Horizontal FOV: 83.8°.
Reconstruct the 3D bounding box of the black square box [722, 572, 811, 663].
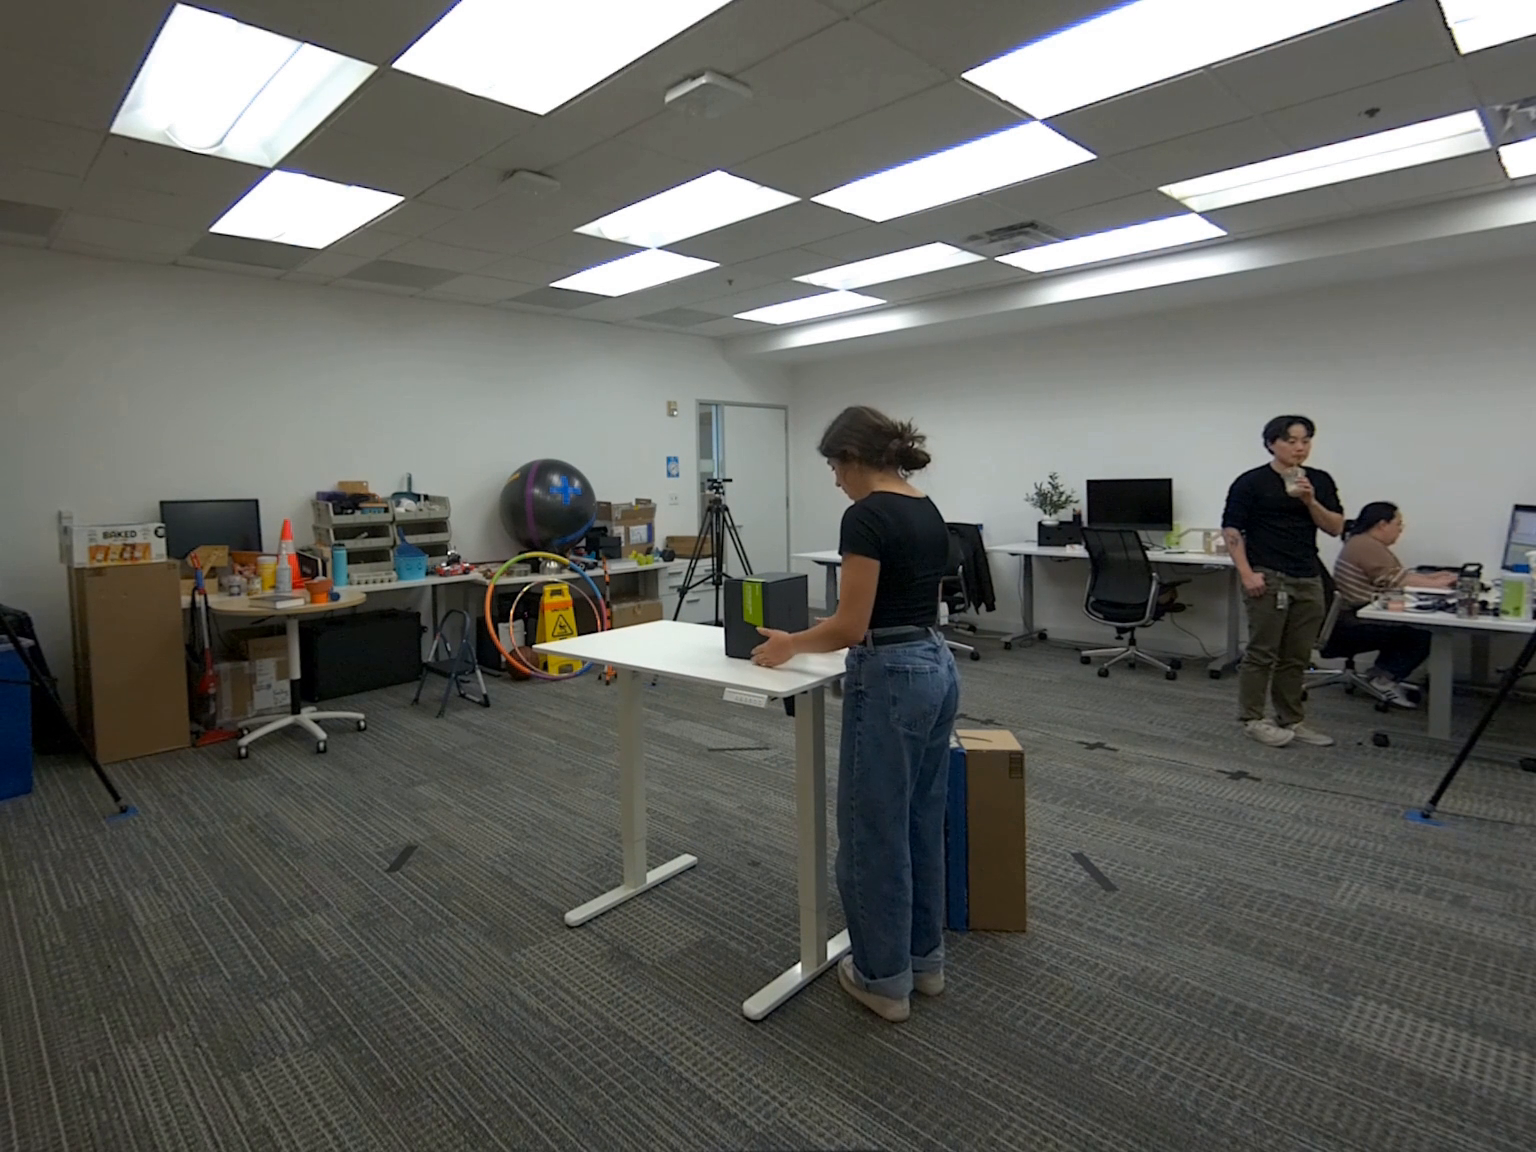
[{"bbox_3d":[-0.001,0.116,2.510,0.160,0.227,0.212,1,5,35],"label":"black square box"}]
